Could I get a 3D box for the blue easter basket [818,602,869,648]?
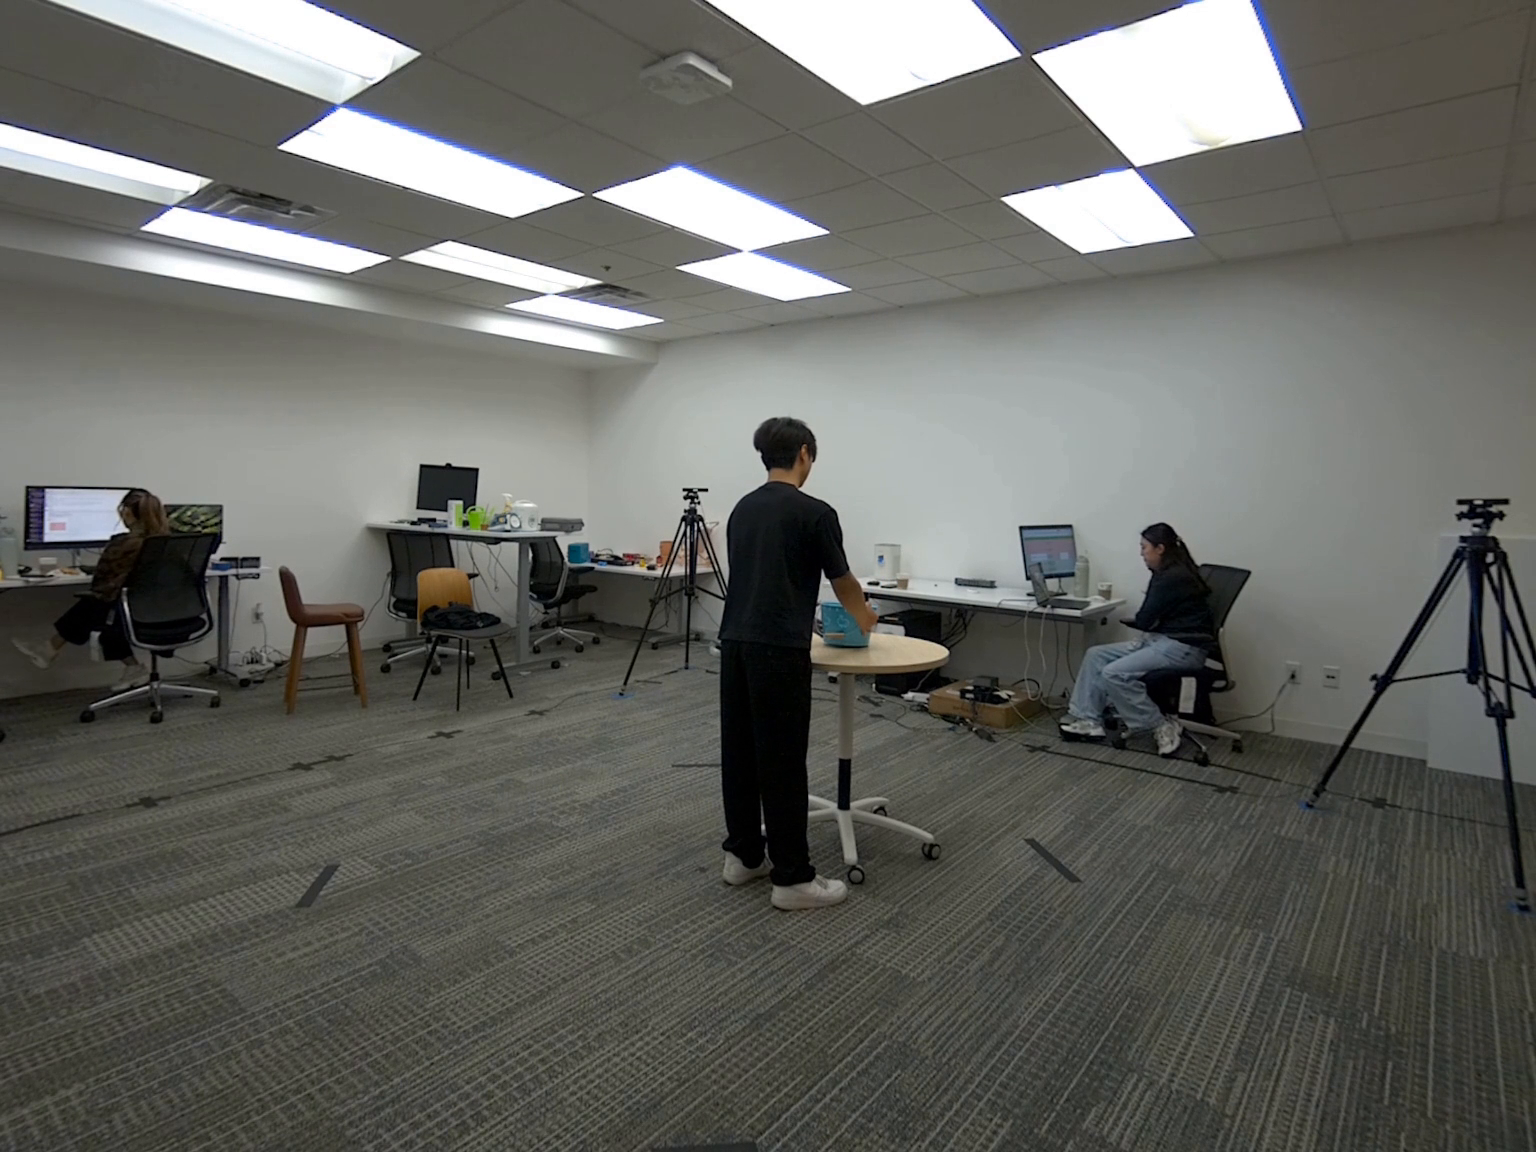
[{"bbox_3d":[0.309,0.187,3.381,0.243,0.156,0.244,4,1,-2],"label":"blue easter basket"}]
